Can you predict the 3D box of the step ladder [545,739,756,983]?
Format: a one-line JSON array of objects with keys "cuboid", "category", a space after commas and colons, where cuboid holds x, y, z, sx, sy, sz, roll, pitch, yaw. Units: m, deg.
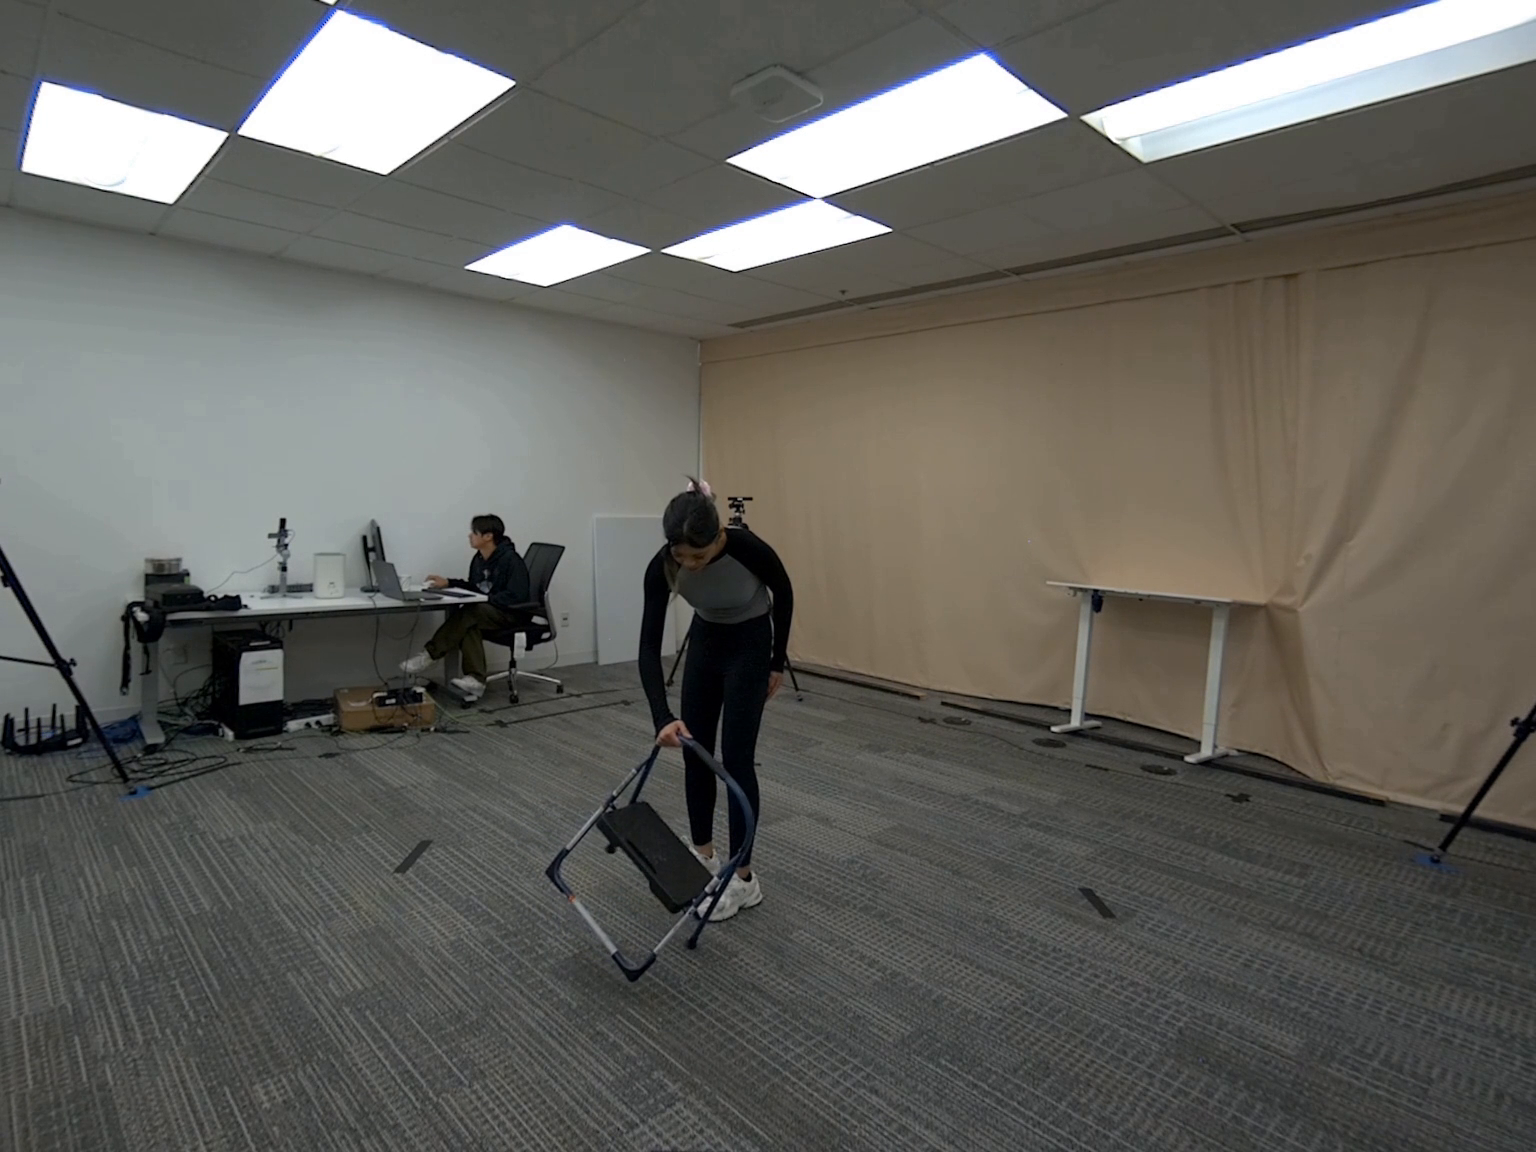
[{"cuboid": [-0.292, 0.775, 2.486, 0.441, 0.604, 0.341, 40, 15, 24], "category": "step ladder"}]
